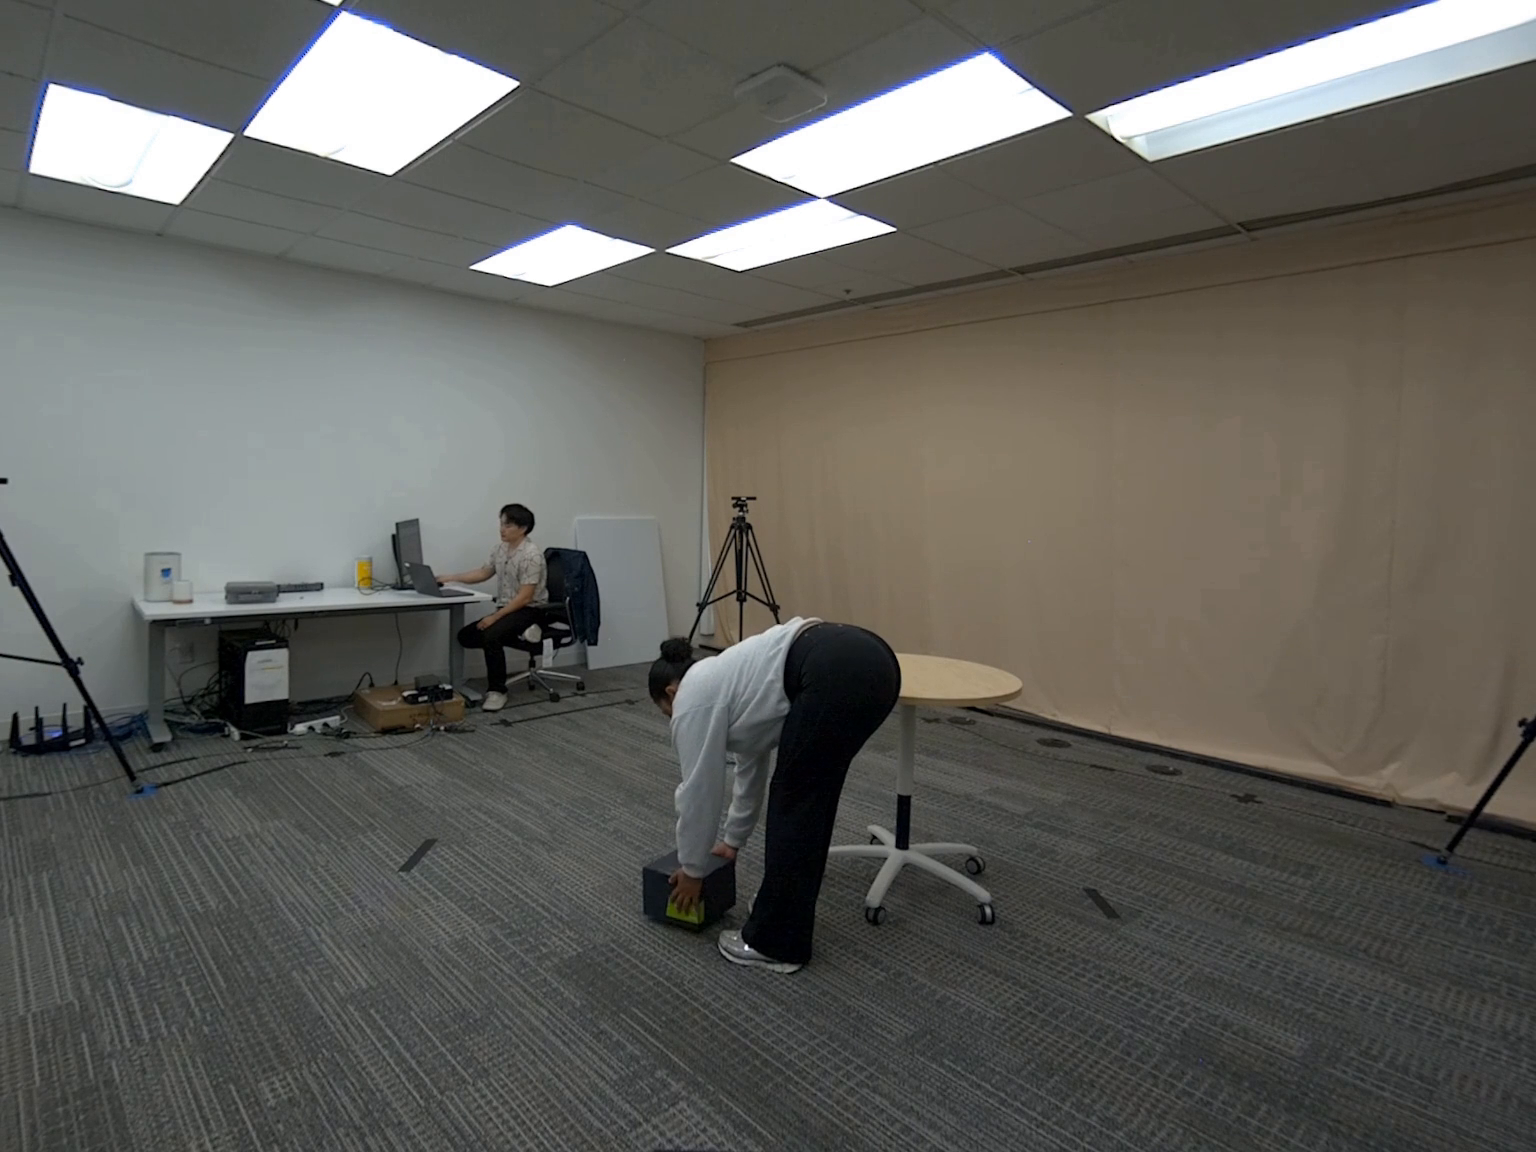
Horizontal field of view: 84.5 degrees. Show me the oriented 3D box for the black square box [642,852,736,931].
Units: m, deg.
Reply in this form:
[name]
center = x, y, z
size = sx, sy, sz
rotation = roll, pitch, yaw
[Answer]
[black square box]
center = -0.262, 1.007, 2.789
size = 0.233, 0.156, 0.213
rotation = 1, 3, 31
